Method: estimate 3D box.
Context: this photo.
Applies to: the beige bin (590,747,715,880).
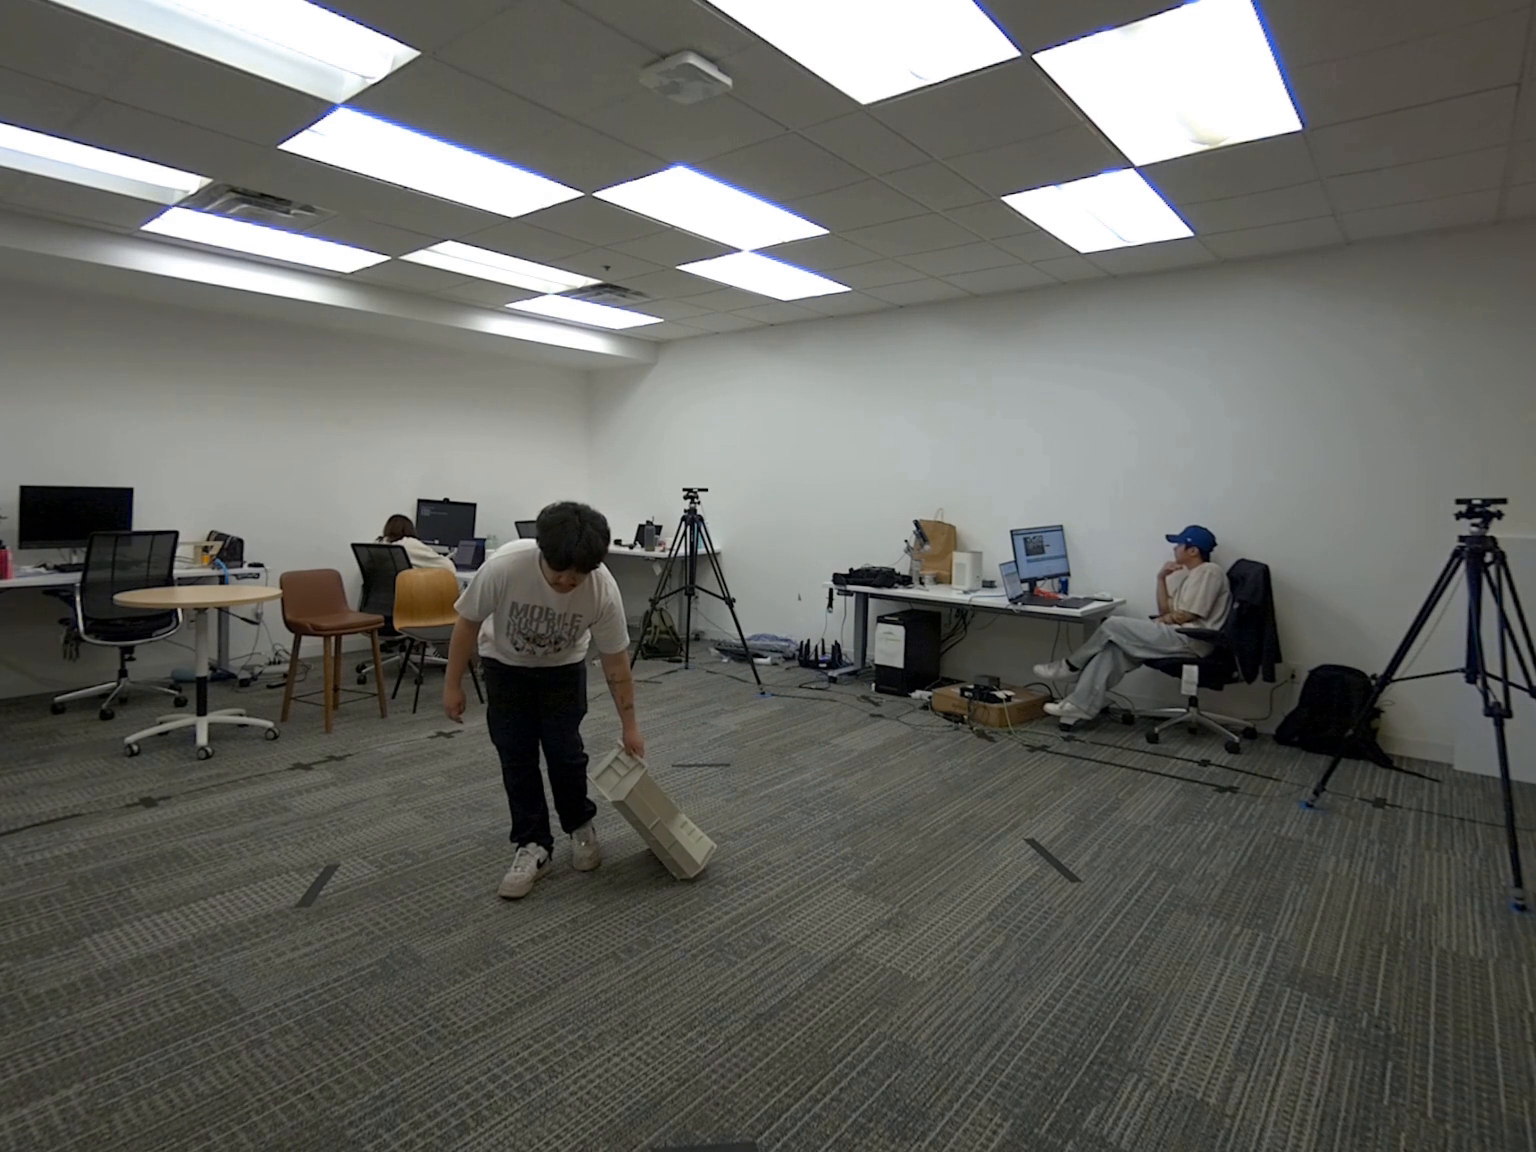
[{"bbox_3d":[-0.437,0.850,3.094,0.188,0.412,0.388,-44,21,-18],"label":"beige bin"}]
